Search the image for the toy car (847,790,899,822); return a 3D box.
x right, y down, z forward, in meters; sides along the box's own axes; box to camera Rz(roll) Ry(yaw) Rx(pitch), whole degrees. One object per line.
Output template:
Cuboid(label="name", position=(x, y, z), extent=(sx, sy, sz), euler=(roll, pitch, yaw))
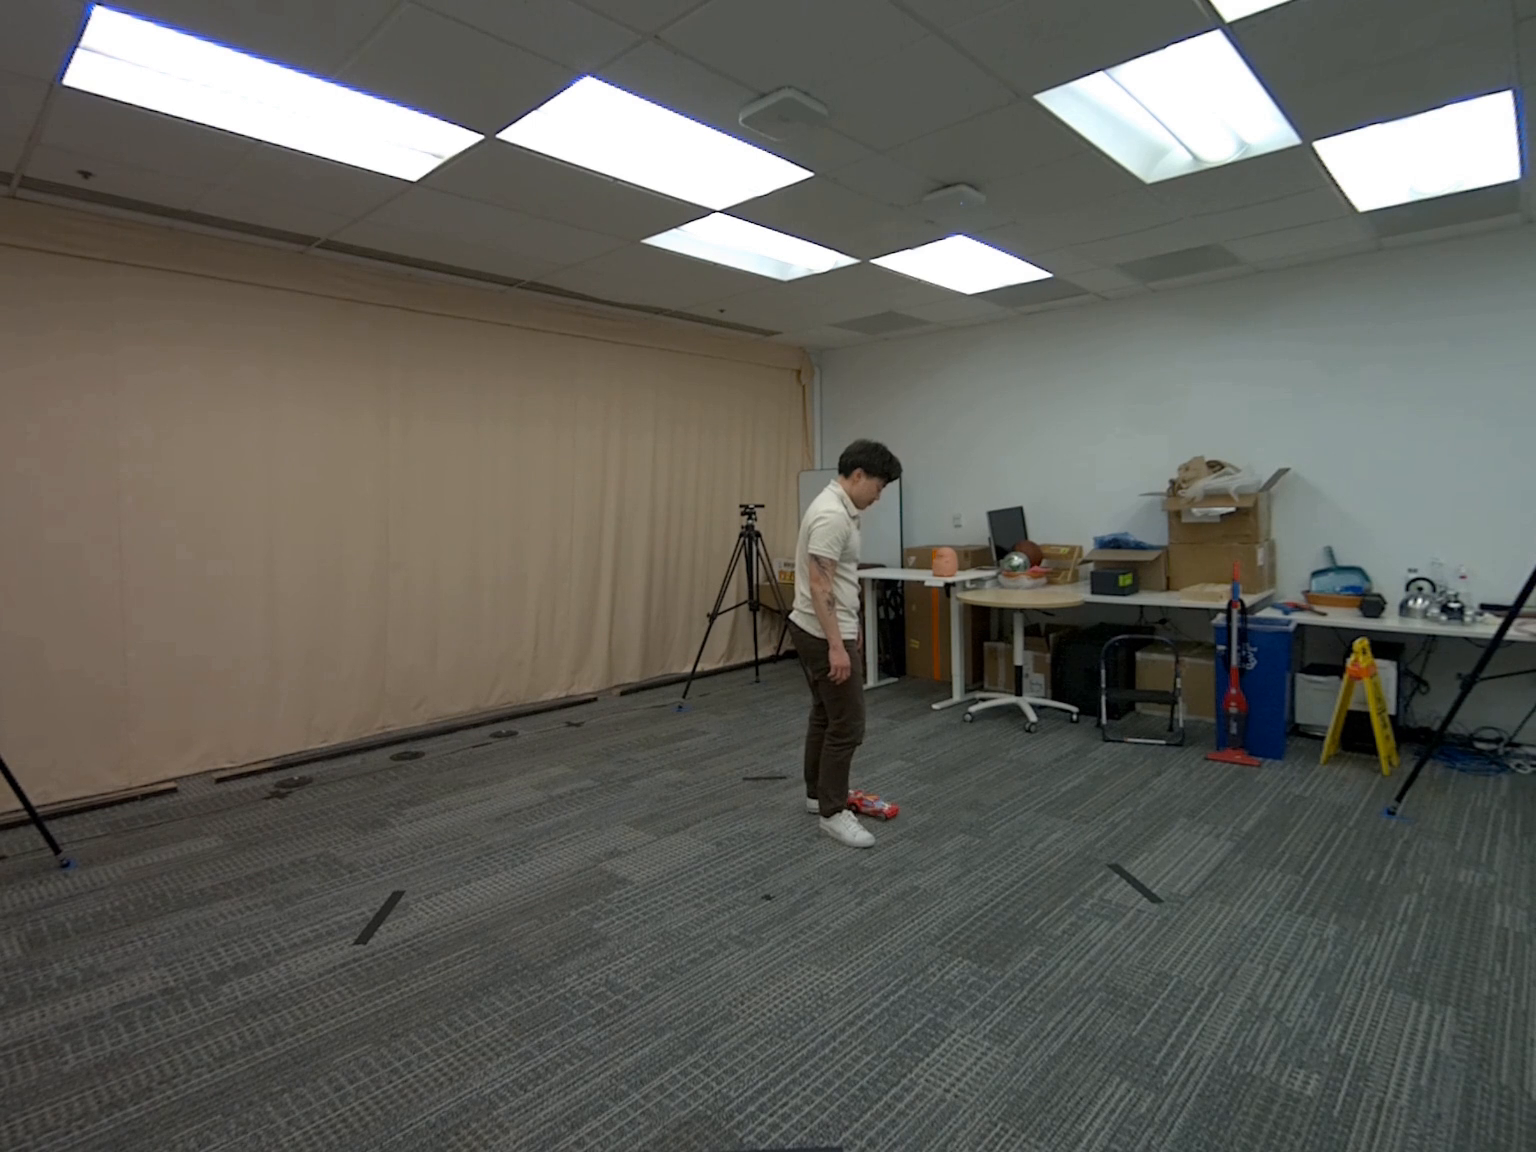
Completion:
Cuboid(label="toy car", position=(0.467, 1.032, 3.779), extent=(0.264, 0.083, 0.126), euler=(17, 15, 40))
